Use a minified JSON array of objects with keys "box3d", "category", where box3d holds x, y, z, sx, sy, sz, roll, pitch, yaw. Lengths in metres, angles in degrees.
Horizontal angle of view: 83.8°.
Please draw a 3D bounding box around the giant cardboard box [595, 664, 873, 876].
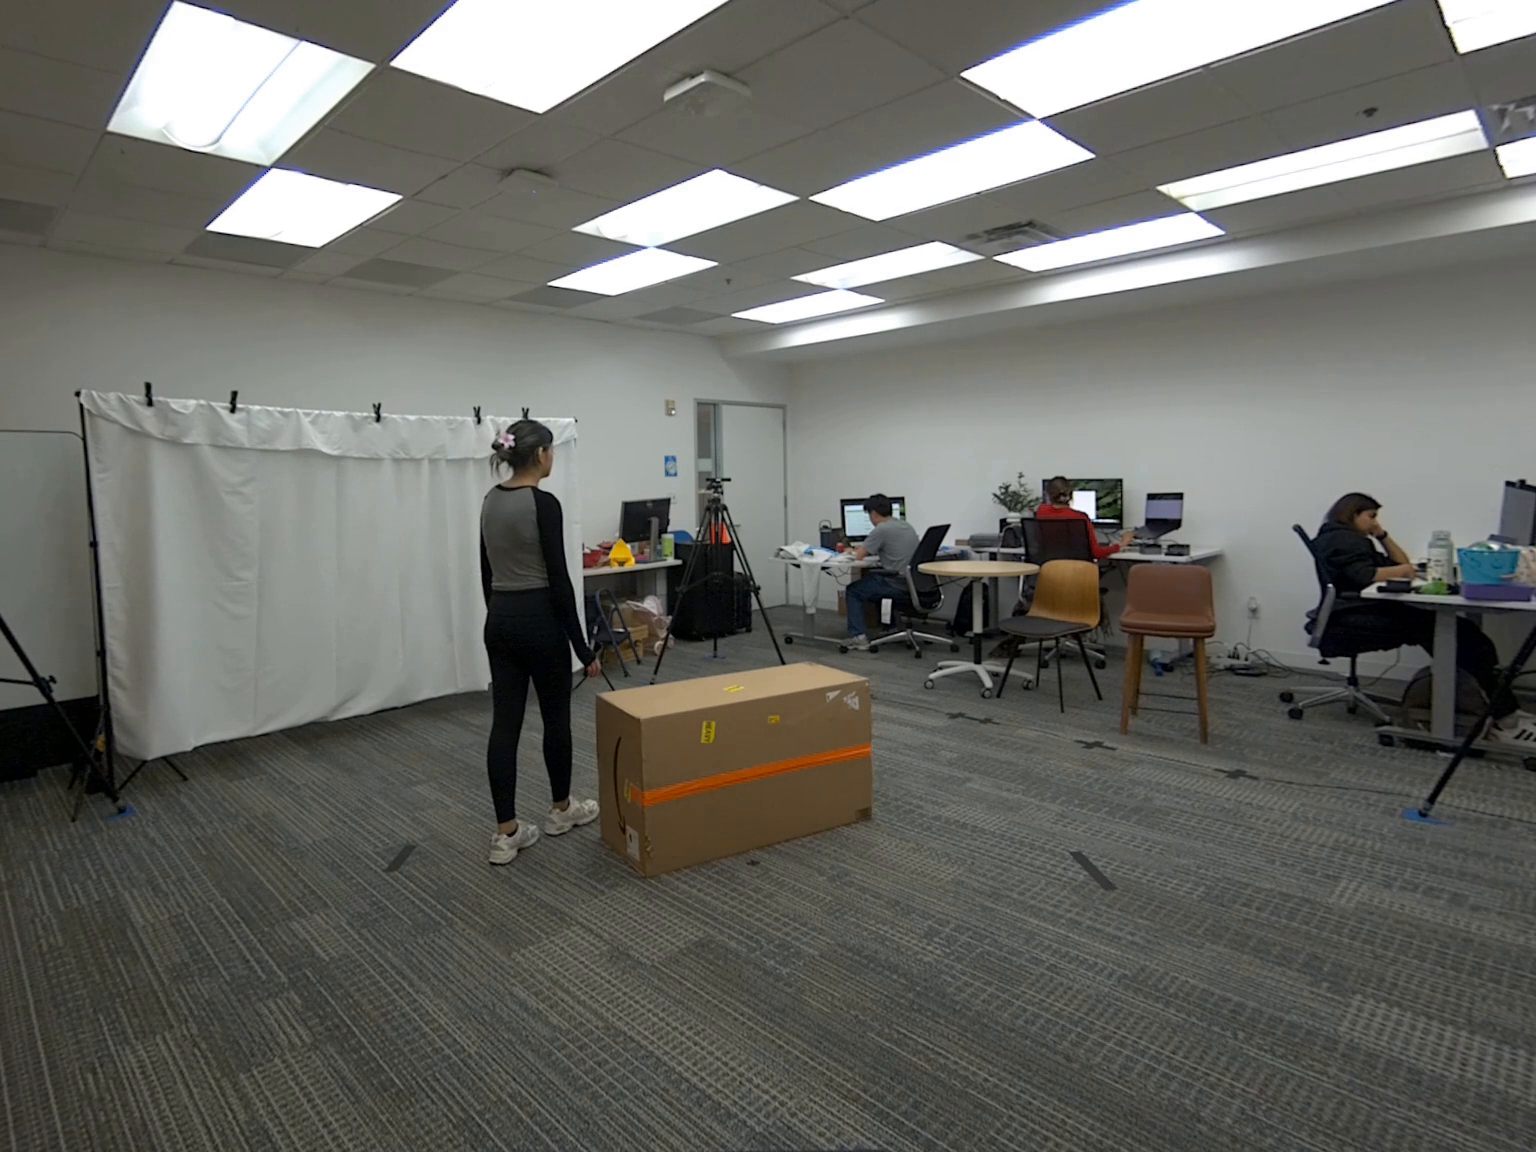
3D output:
[{"box3d":[-0.119,0.725,3.399,1.002,0.575,0.438,-5,5,-31],"category":"giant cardboard box"}]
